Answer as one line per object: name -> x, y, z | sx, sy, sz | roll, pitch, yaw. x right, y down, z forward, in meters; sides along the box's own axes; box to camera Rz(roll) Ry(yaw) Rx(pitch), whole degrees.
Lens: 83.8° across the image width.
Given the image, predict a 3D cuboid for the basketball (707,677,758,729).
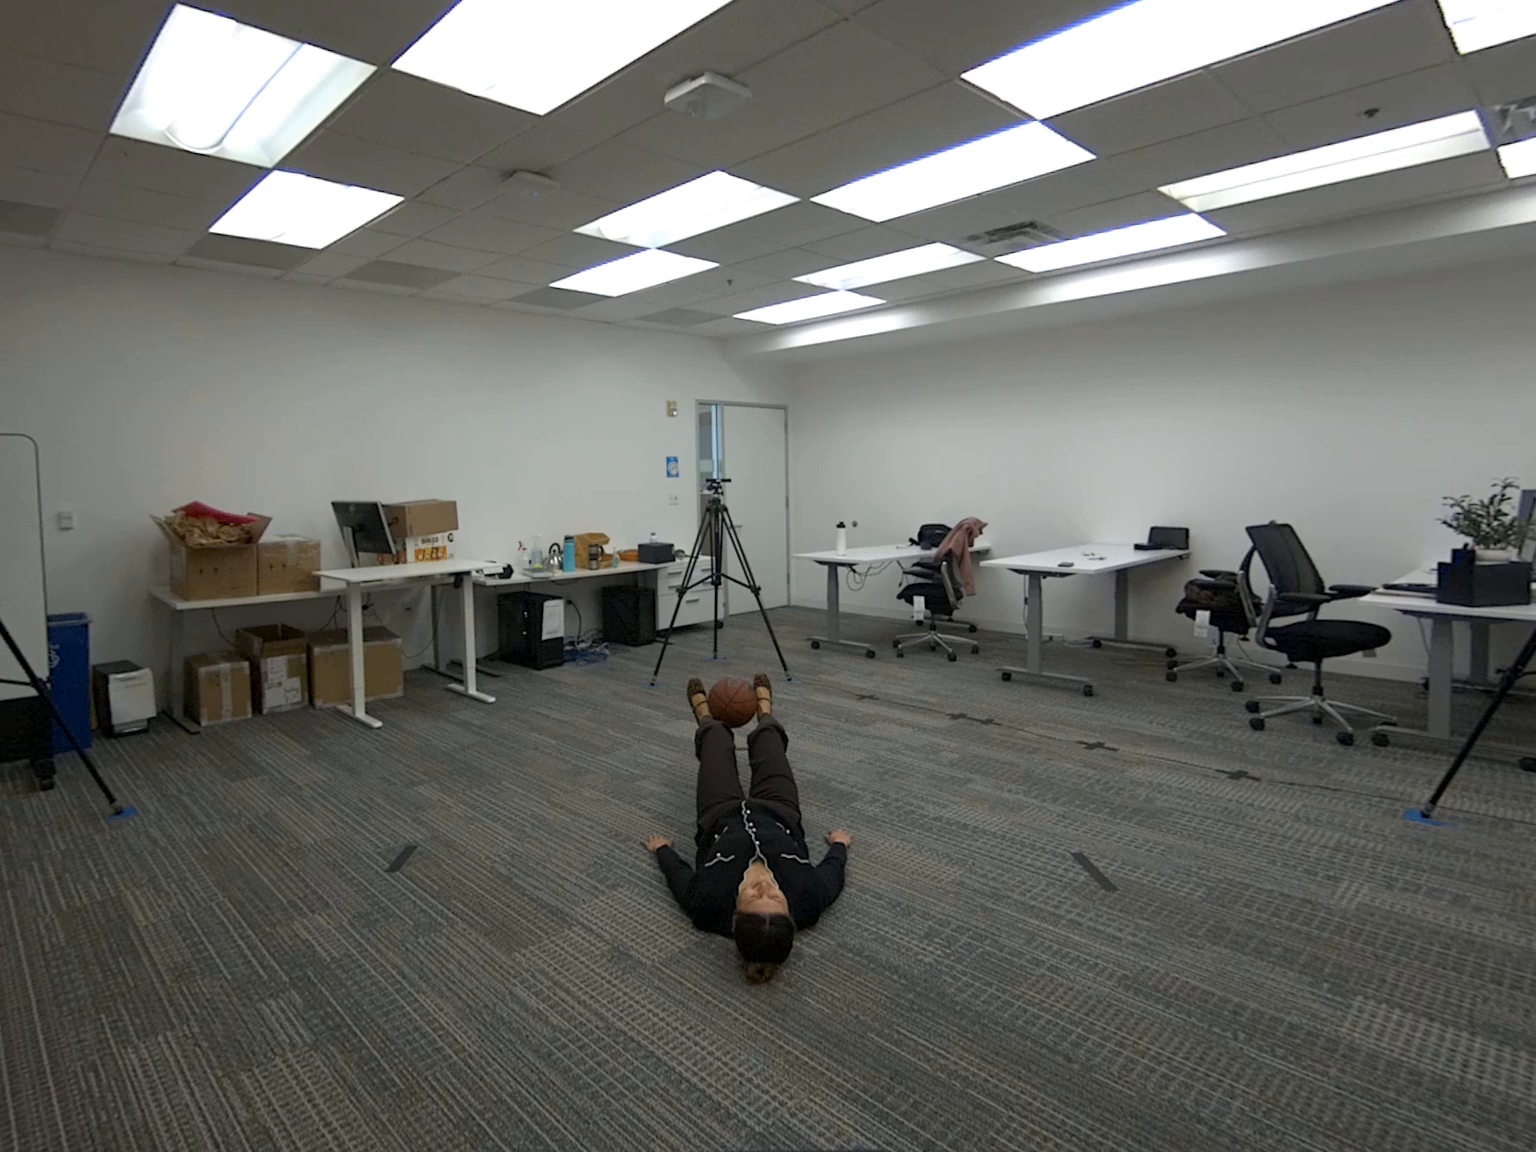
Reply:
basketball -> -0.163, 0.591, 4.004 | 0.236, 0.235, 0.237 | -4, 4, -1
